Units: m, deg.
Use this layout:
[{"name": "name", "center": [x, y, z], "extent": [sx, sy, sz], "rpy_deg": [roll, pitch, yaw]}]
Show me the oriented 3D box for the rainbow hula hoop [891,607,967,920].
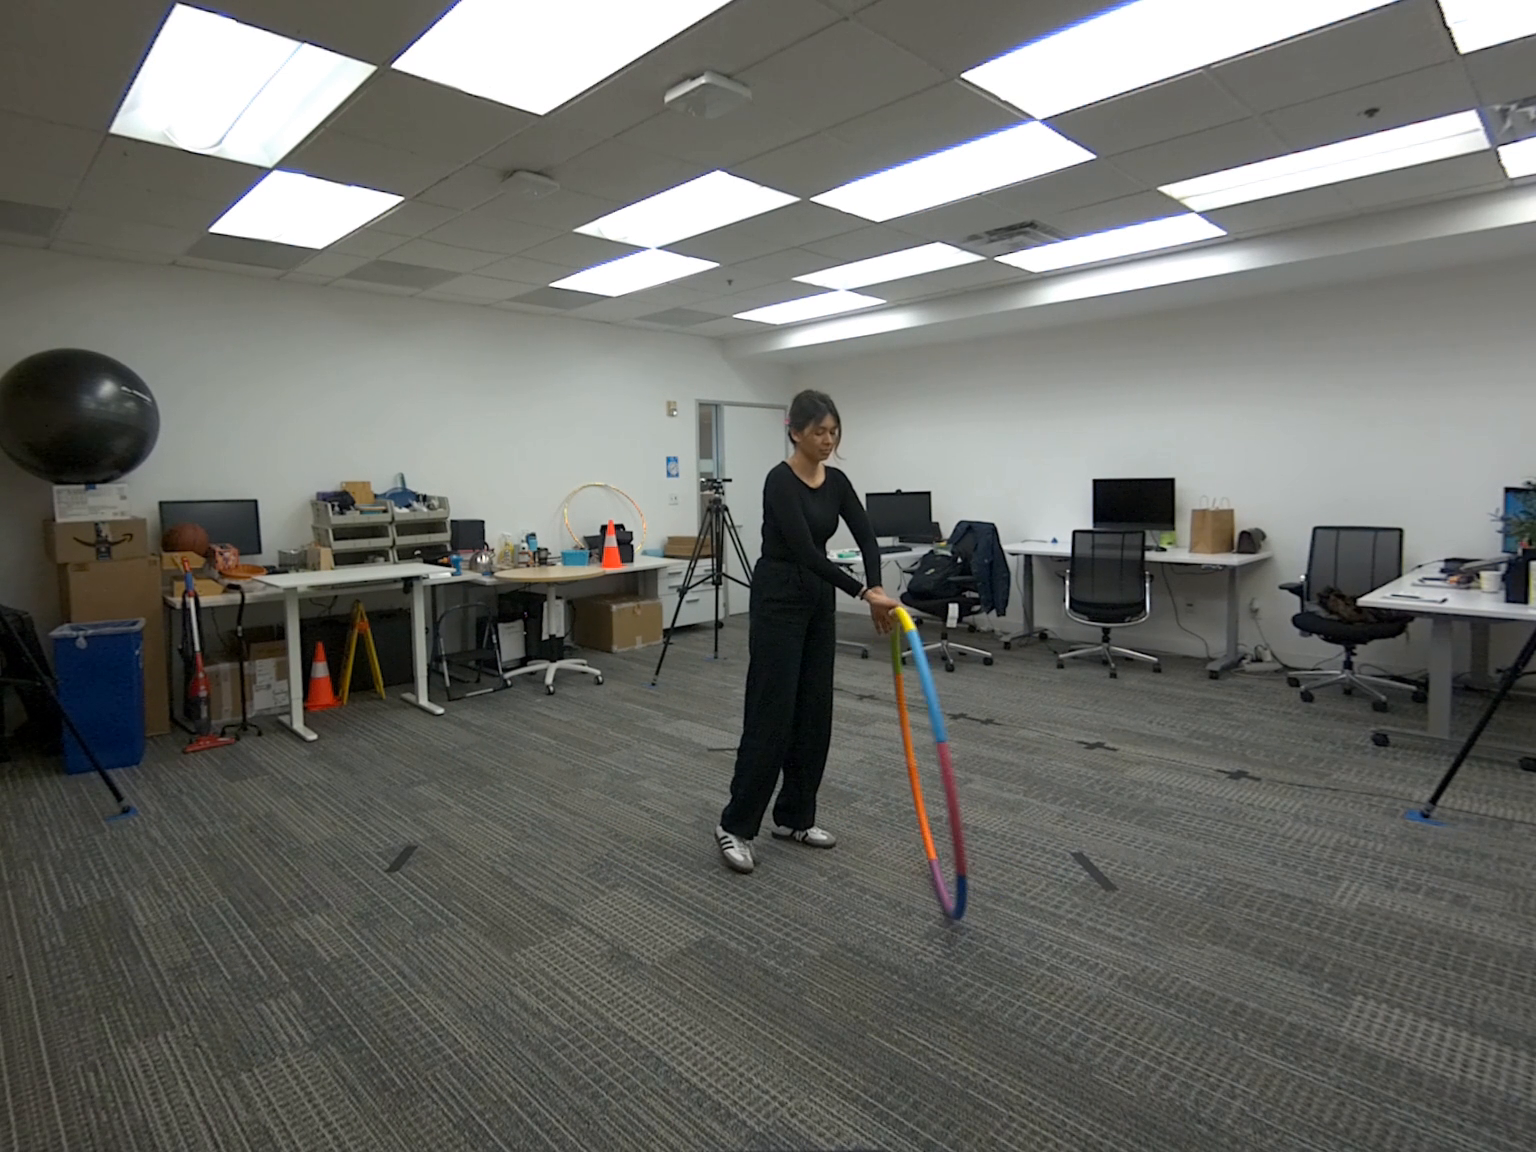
[{"name": "rainbow hula hoop", "center": [0.510, 0.589, 2.784], "extent": [0.035, 0.975, 0.980], "rpy_deg": [-10, 4, 2]}]
